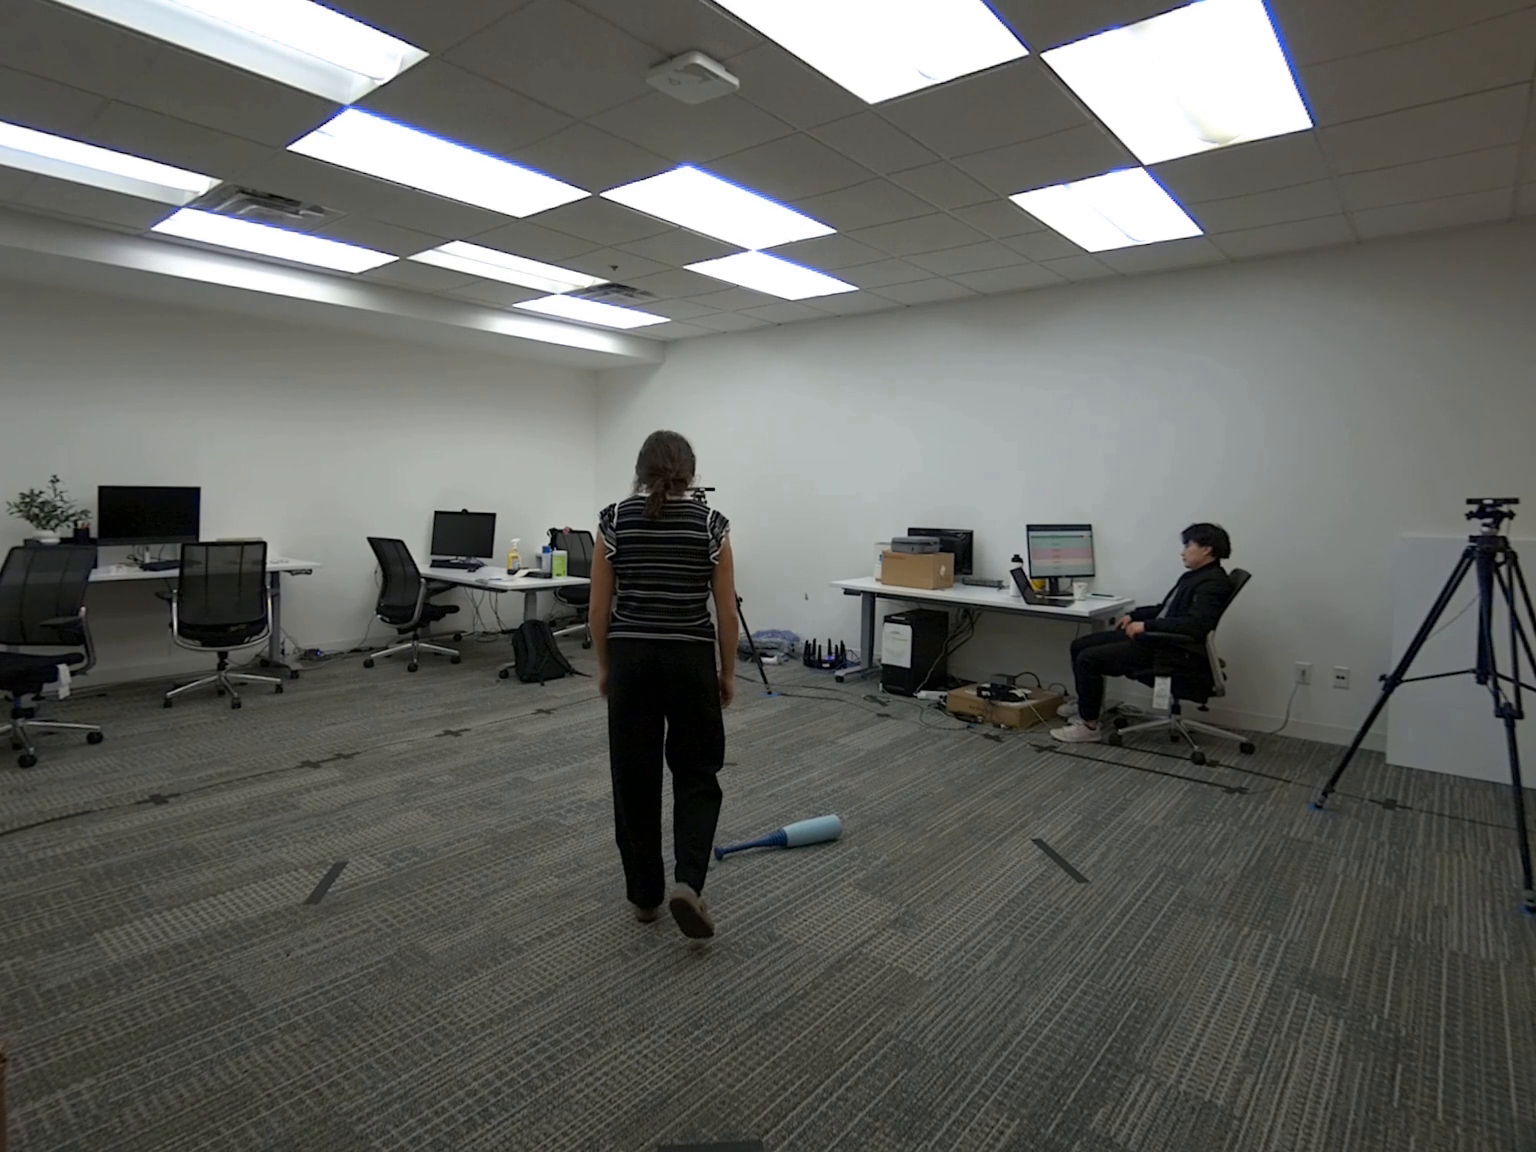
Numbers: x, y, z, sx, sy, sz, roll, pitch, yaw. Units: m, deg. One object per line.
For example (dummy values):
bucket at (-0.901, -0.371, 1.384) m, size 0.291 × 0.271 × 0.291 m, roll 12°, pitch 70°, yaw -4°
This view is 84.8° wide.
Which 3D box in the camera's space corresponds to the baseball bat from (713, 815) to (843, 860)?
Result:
baseball bat at (0.033, 1.018, 3.300) m, size 0.531 × 0.088 × 0.091 m, roll -5°, pitch 6°, yaw -24°
